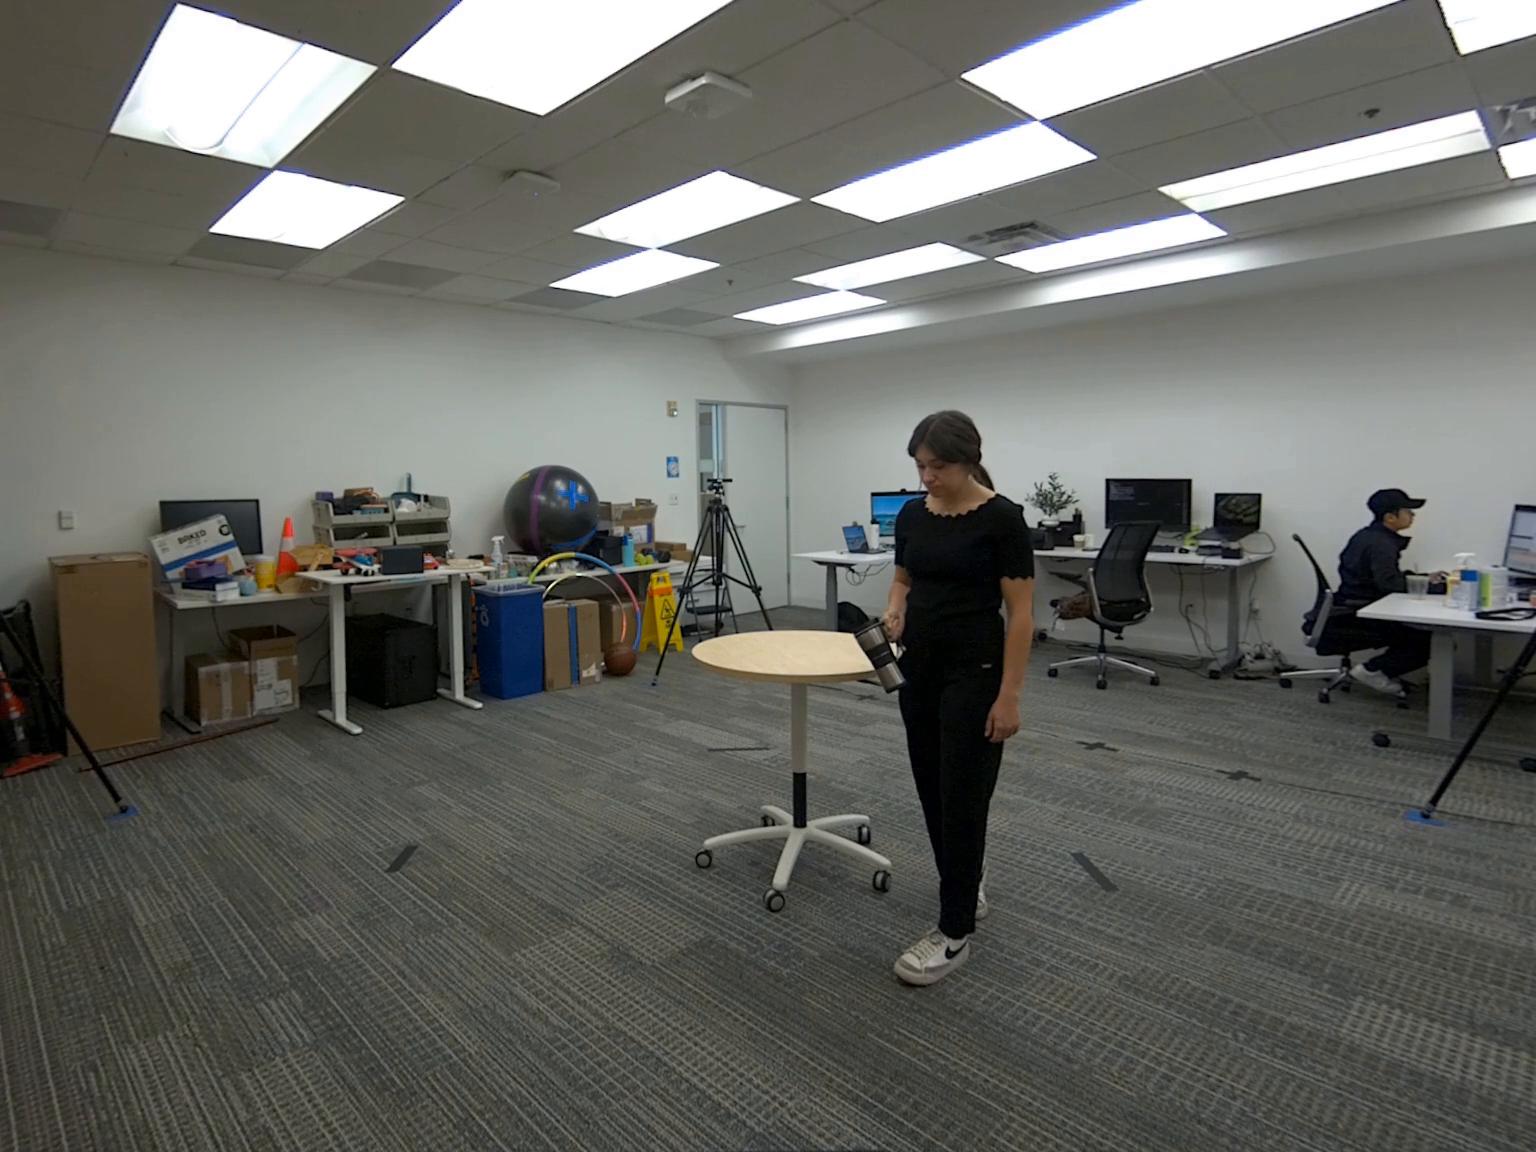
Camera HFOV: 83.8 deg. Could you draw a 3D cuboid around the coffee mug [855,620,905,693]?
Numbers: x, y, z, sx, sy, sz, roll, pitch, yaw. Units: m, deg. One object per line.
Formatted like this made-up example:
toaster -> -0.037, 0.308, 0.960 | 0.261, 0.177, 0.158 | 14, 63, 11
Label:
coffee mug -> 0.354, 0.226, 2.436 | 0.120, 0.206, 0.088 | -19, -15, -27
